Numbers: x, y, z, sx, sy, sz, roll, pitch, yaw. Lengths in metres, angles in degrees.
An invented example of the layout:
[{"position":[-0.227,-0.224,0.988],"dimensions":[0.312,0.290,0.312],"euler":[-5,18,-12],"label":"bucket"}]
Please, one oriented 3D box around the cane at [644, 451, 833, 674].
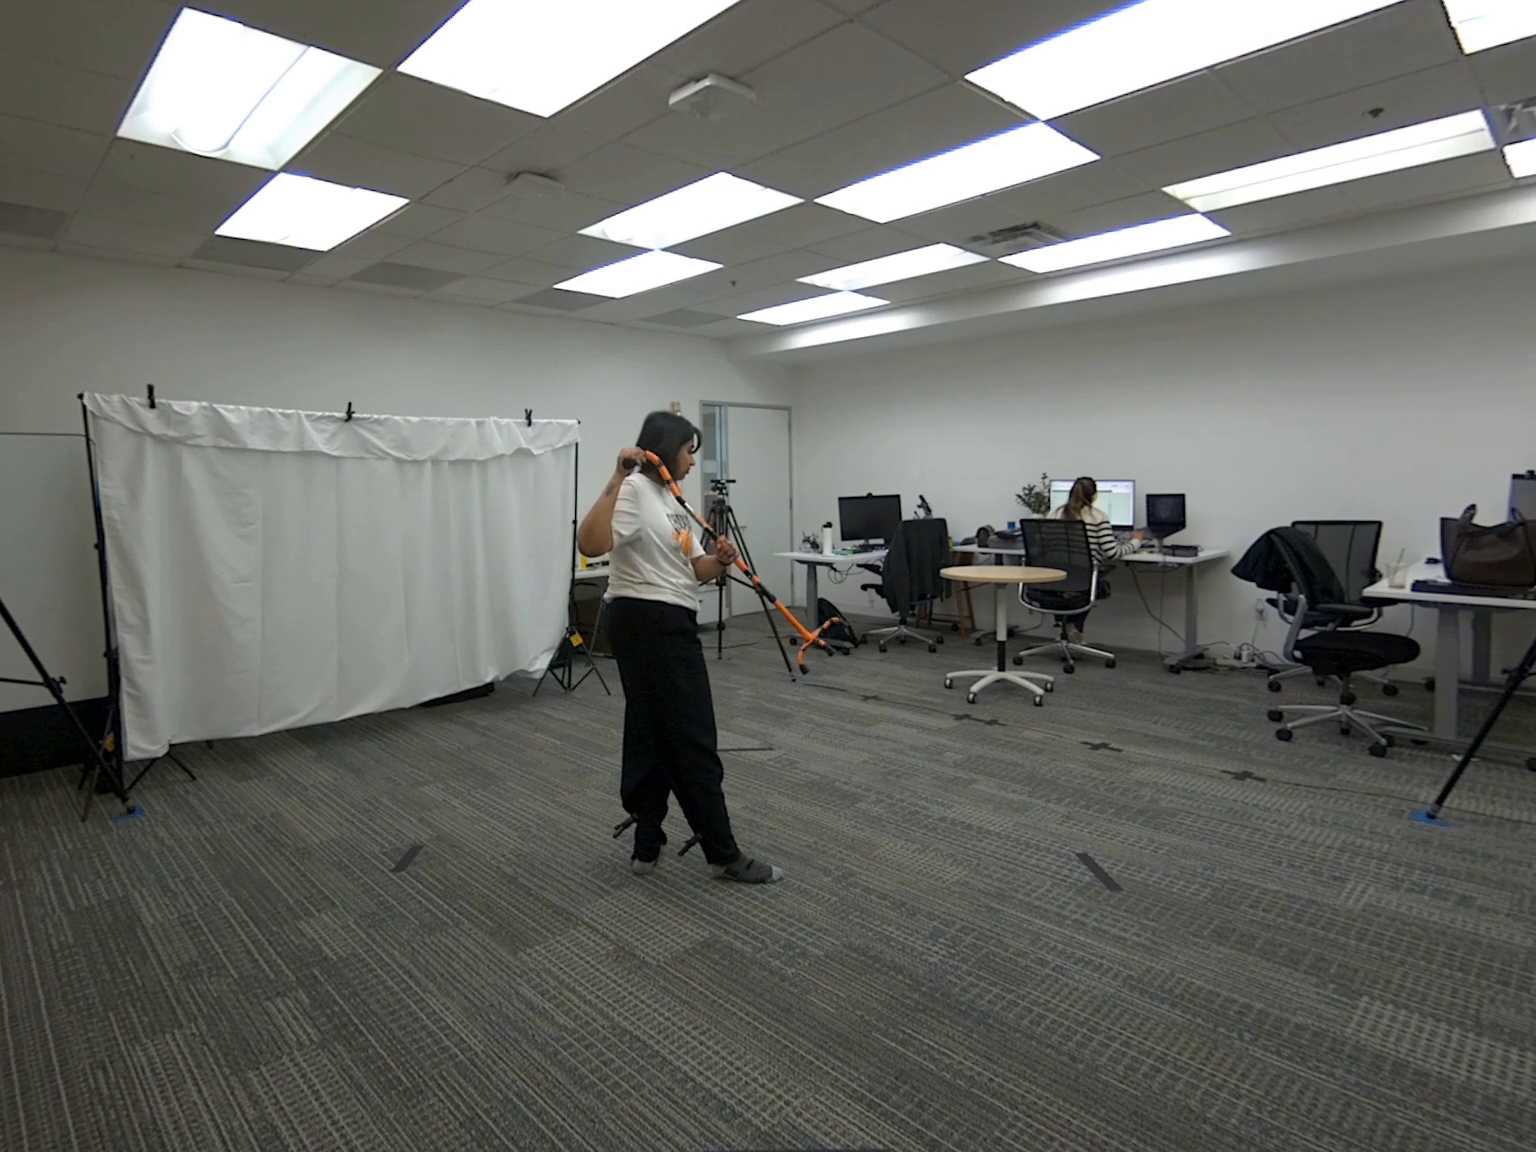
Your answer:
[{"position":[-0.114,-0.071,2.836],"dimensions":[0.152,0.902,0.207],"euler":[-40,6,29],"label":"cane"}]
